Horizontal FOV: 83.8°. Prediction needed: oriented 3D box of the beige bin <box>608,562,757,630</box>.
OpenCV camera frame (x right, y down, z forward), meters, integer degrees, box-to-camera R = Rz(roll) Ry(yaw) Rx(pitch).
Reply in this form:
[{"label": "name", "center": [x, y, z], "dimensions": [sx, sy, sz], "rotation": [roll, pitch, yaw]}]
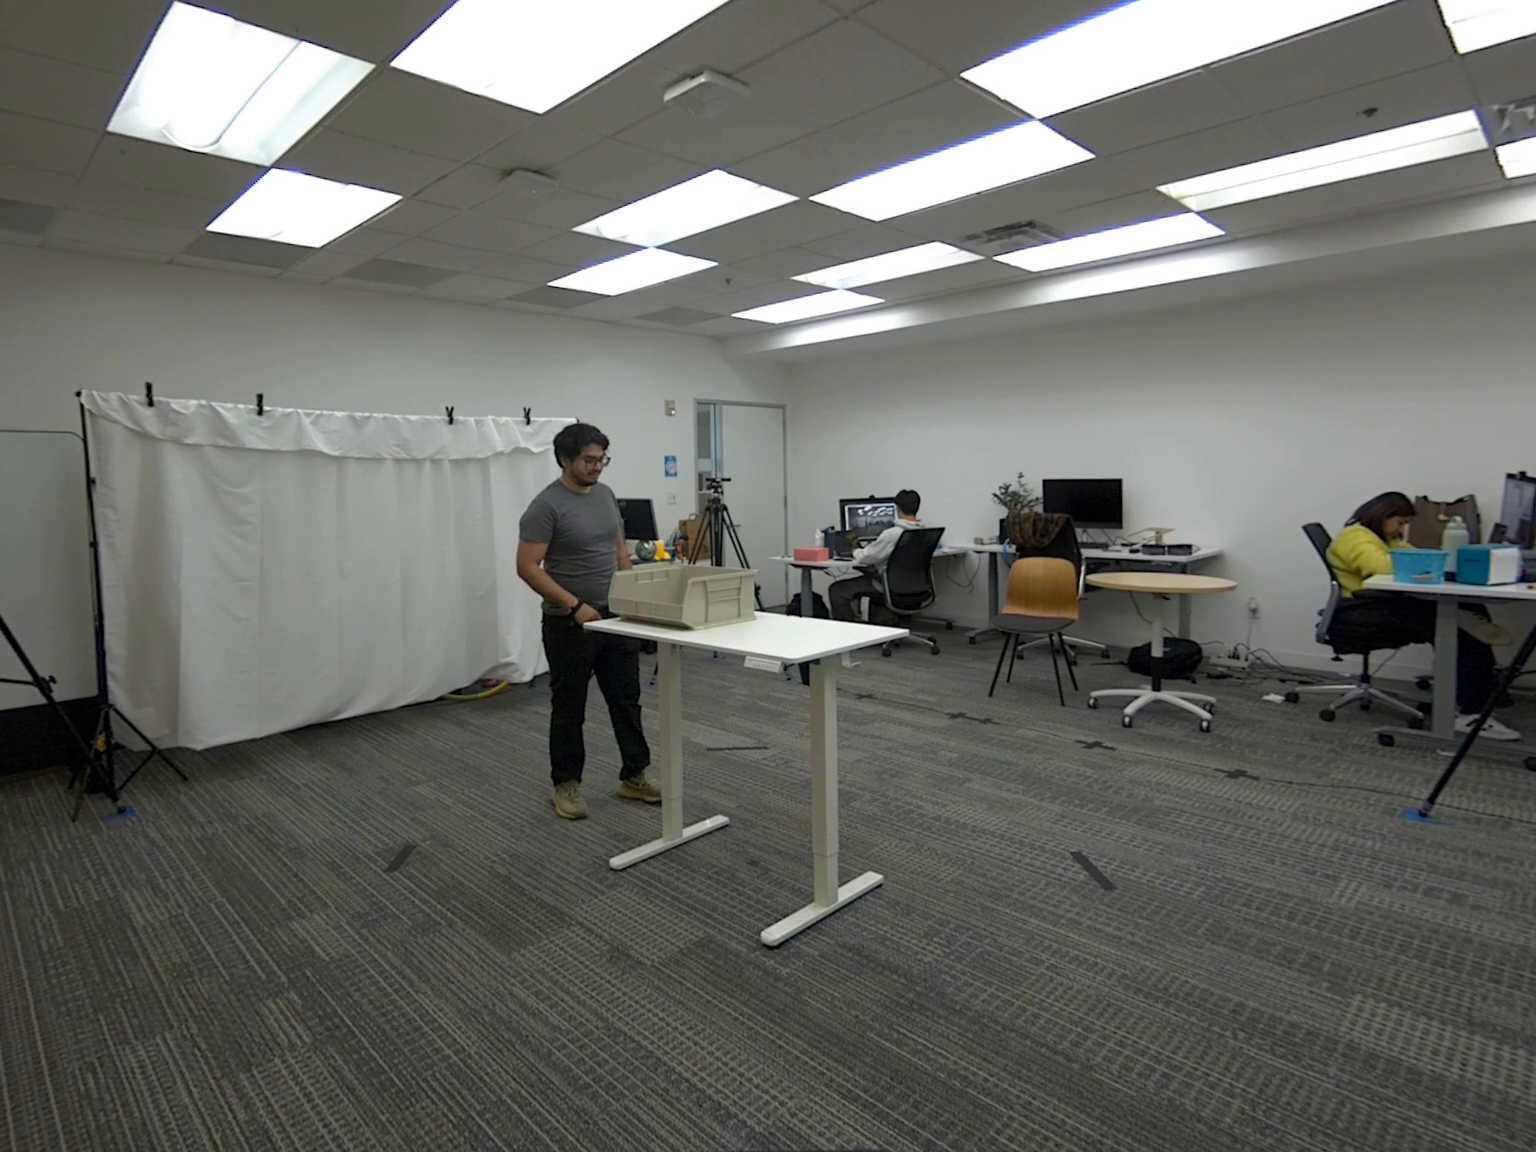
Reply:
[{"label": "beige bin", "center": [-0.310, 0.073, 3.133], "dimensions": [0.435, 0.188, 0.367], "rotation": [4, 6, 44]}]
